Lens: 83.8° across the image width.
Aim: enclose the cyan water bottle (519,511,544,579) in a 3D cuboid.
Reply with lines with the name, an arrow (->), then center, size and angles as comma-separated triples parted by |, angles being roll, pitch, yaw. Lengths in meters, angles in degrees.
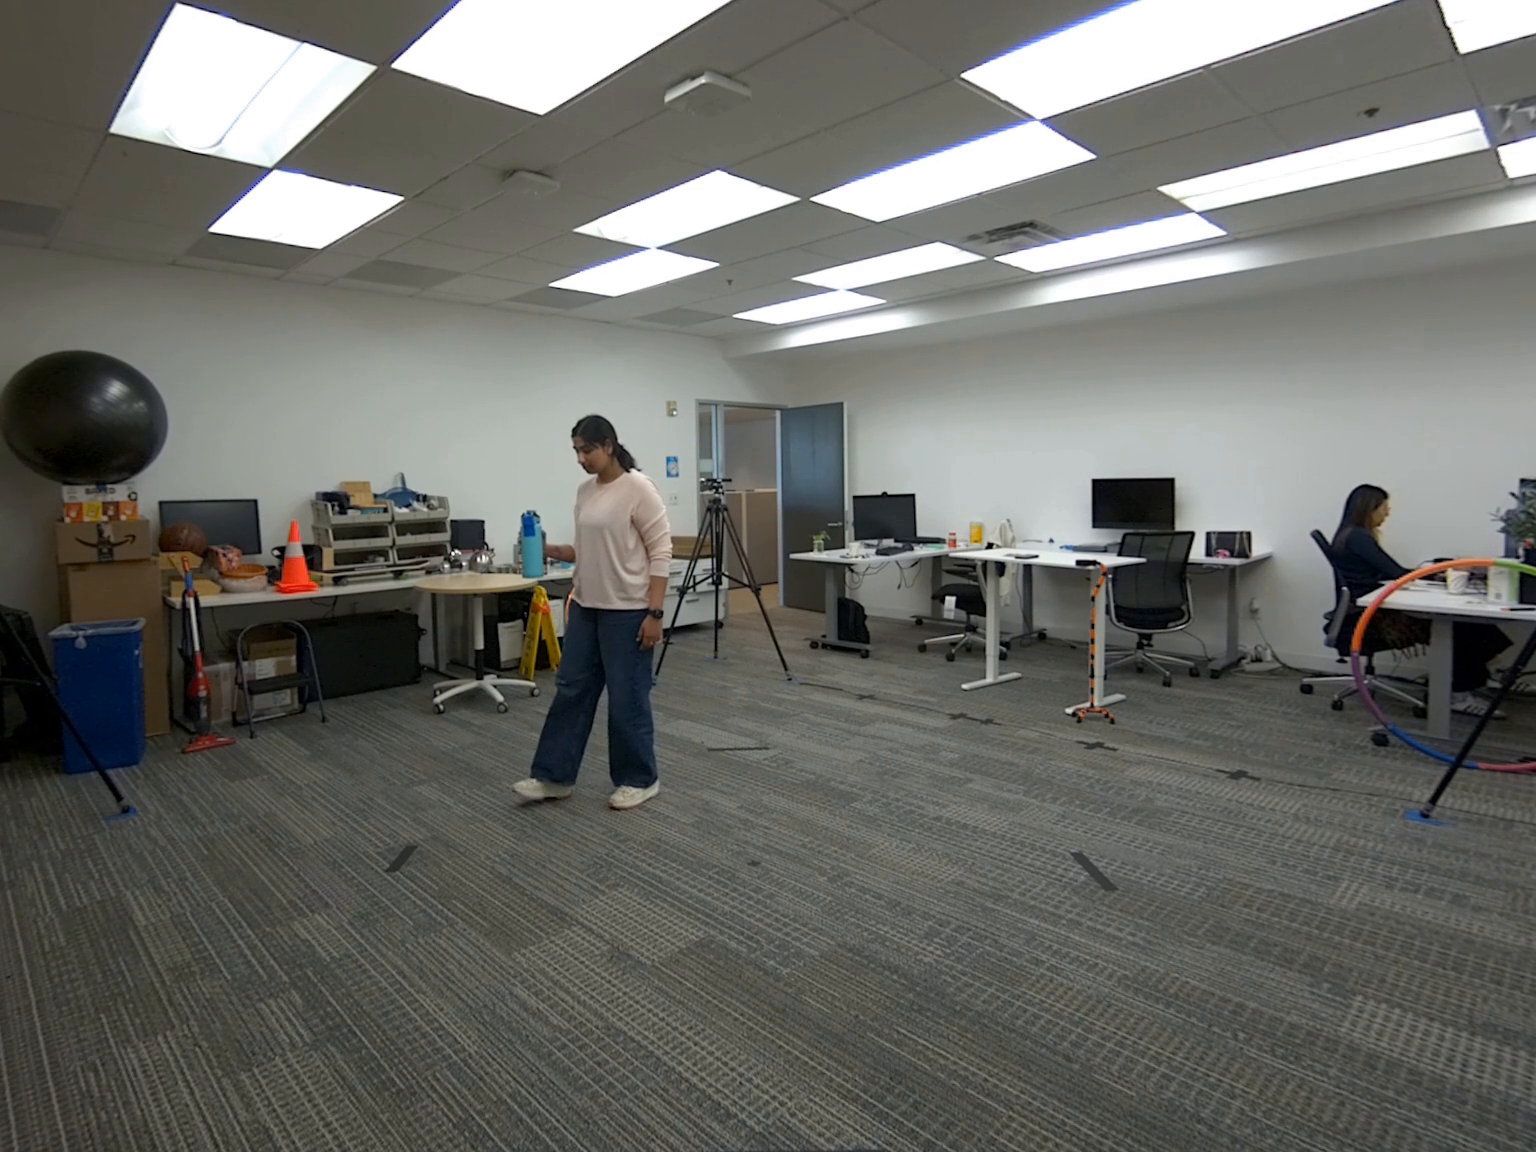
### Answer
cyan water bottle -> -0.995, -0.134, 3.585 | 0.092, 0.282, 0.093 | -3, 3, -1
